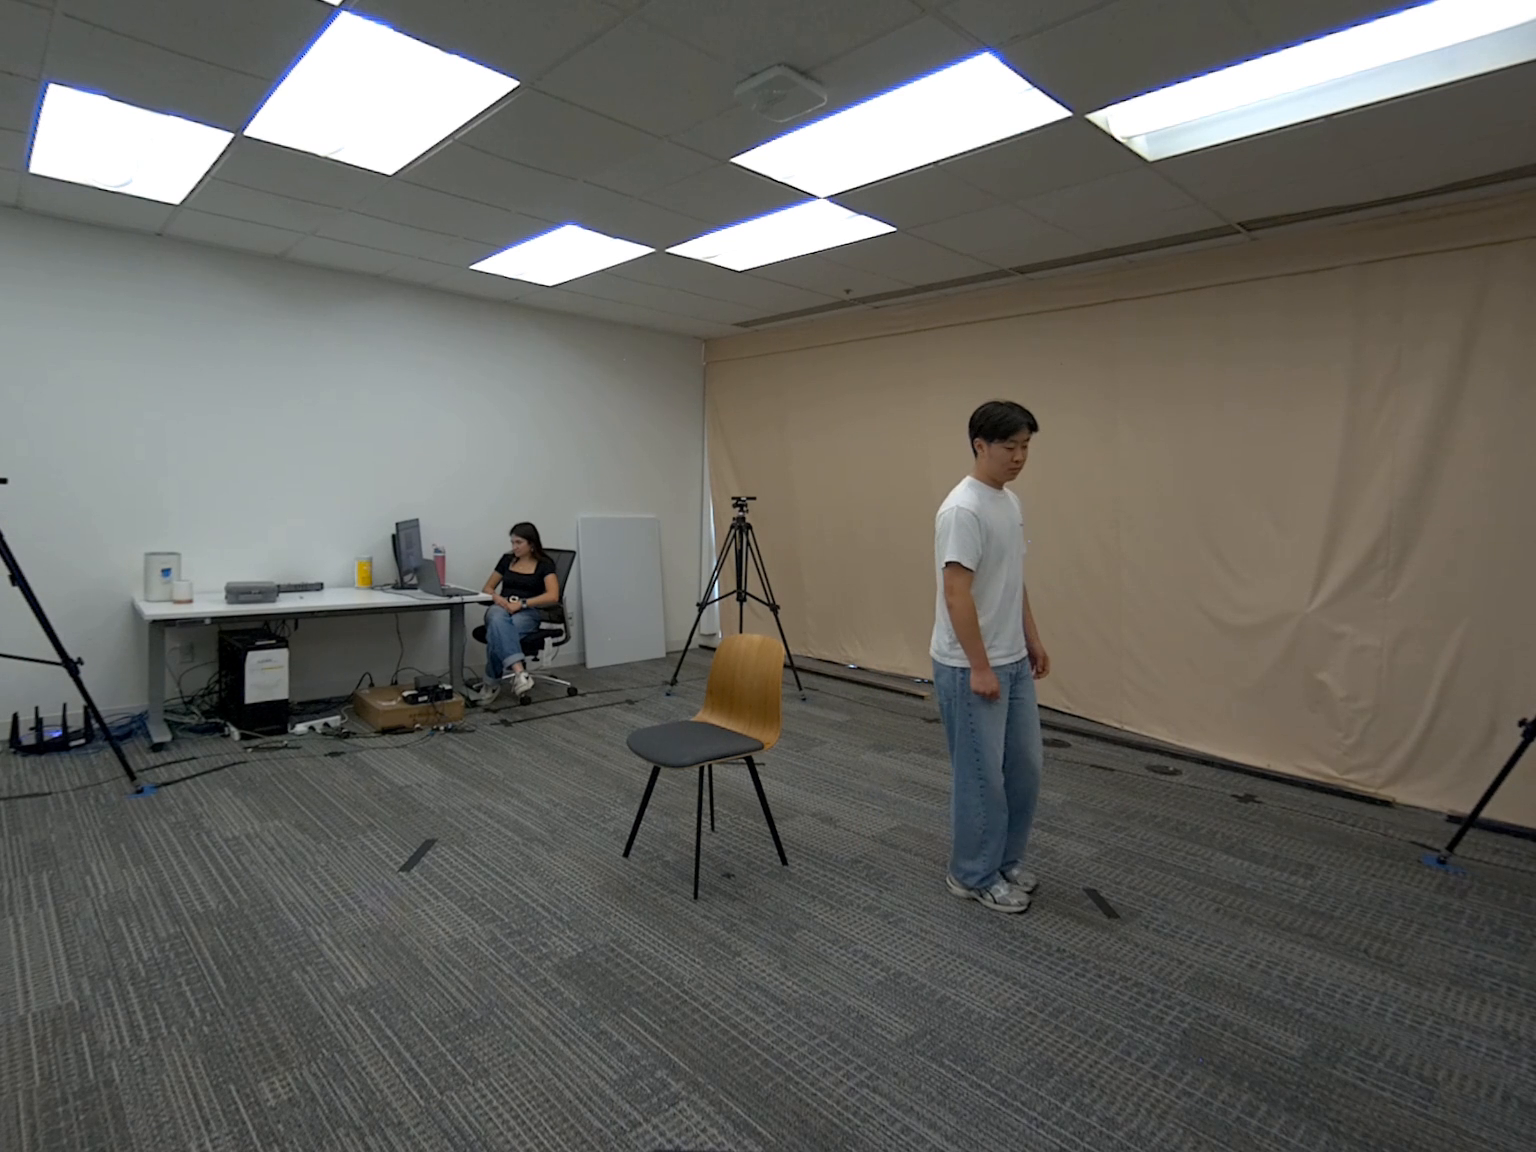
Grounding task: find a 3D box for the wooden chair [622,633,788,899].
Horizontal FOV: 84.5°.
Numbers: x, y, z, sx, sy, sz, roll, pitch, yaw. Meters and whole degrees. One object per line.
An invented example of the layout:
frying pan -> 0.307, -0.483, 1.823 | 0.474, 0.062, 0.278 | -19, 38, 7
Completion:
wooden chair -> -0.240, 0.665, 3.190 | 0.510, 0.877, 0.490 | 5, 0, -43
